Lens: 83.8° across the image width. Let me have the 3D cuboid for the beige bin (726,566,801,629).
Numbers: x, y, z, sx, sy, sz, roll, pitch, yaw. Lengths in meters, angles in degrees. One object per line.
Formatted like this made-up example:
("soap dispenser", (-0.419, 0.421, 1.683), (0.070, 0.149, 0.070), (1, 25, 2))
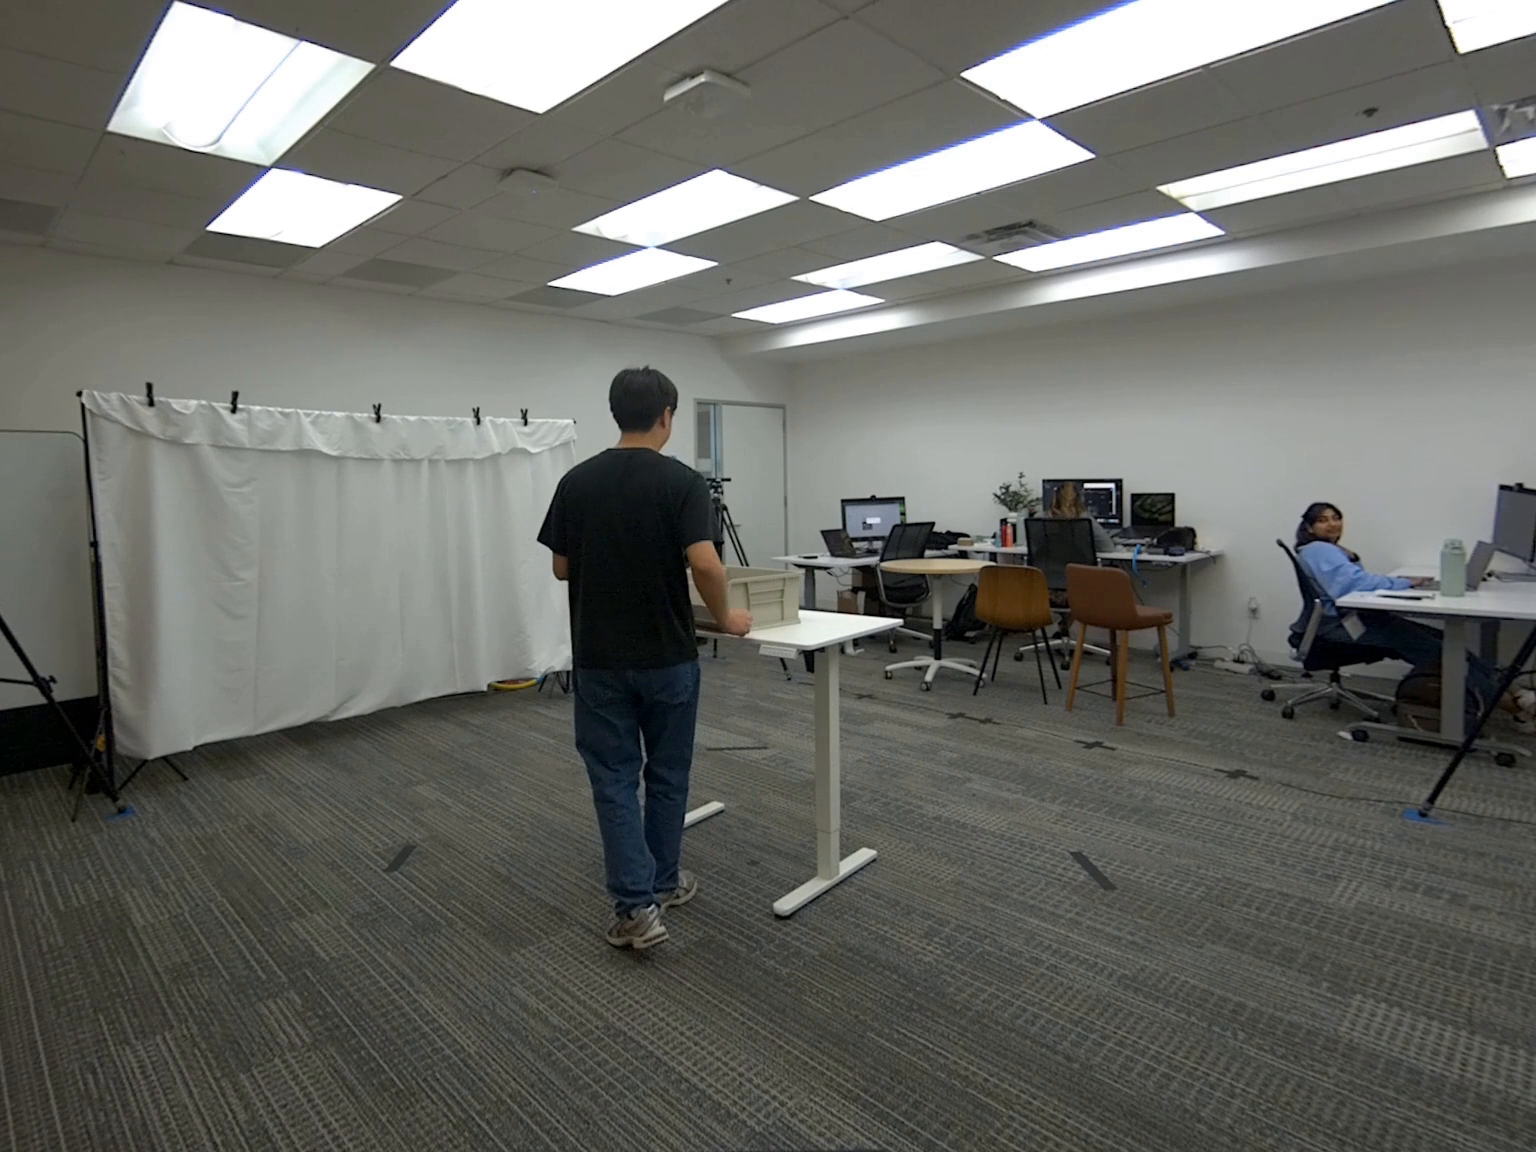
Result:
("beige bin", (-0.145, 0.079, 3.044), (0.367, 0.188, 0.435), (-4, 6, -42))
